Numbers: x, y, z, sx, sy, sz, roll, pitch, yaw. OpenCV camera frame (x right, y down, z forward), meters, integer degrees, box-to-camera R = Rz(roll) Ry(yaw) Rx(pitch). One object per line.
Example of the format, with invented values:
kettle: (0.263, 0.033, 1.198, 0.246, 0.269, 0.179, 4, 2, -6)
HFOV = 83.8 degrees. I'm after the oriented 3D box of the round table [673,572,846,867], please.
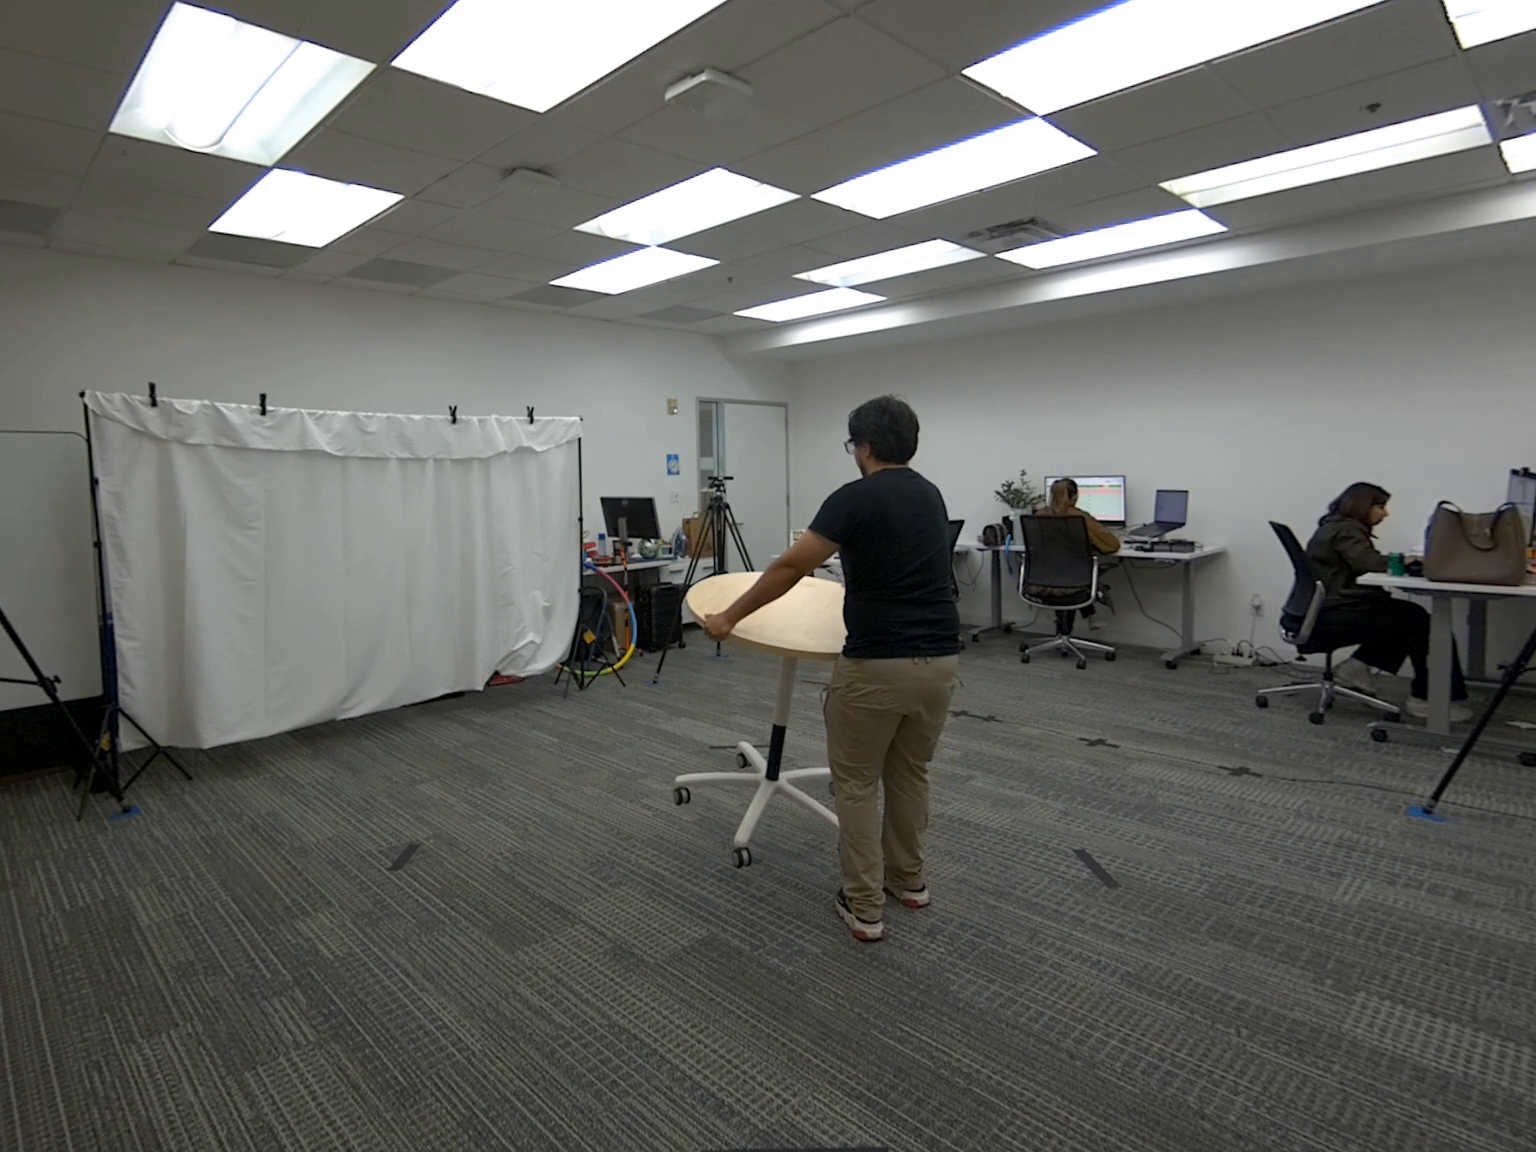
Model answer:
round table: (0.041, 0.490, 3.048, 0.783, 0.777, 0.796, 5, 15, -3)
